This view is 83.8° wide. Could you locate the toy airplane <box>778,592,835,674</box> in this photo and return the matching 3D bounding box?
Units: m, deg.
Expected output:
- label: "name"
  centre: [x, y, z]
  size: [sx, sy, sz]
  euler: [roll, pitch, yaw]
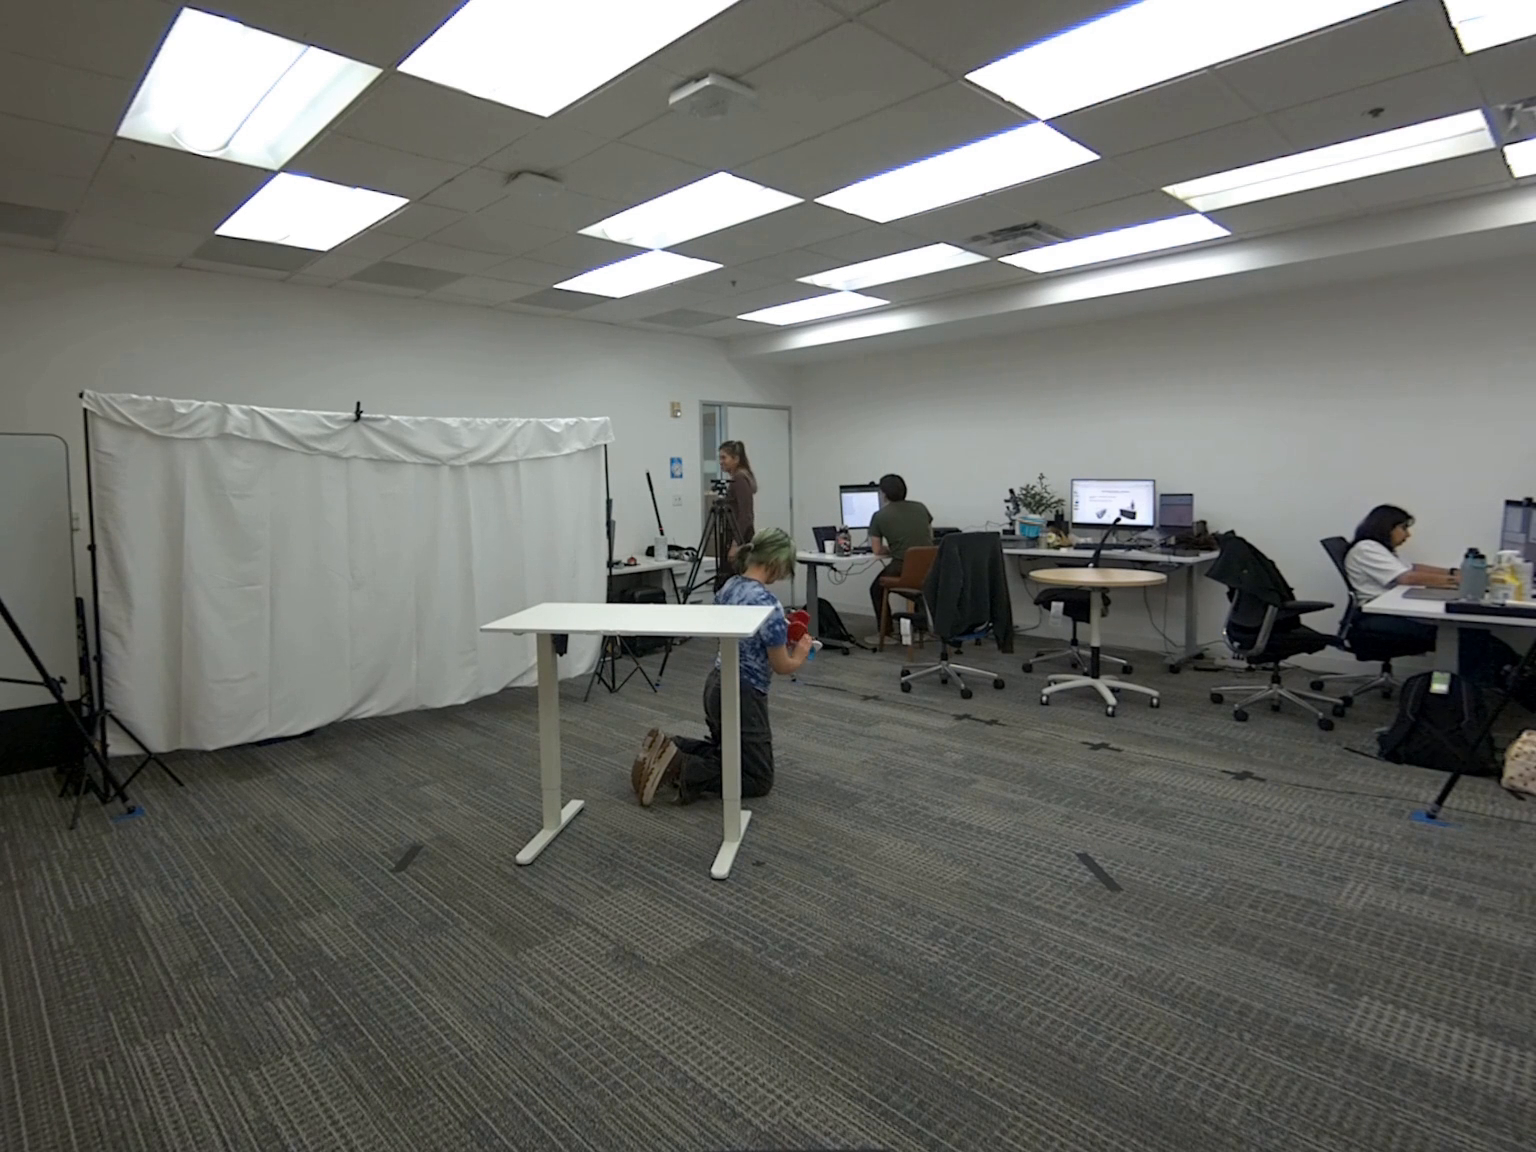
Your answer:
- label: "toy airplane"
  centre: [0.134, 0.266, 4.051]
  size: [0.264, 0.247, 0.156]
  euler: [25, 35, 14]
